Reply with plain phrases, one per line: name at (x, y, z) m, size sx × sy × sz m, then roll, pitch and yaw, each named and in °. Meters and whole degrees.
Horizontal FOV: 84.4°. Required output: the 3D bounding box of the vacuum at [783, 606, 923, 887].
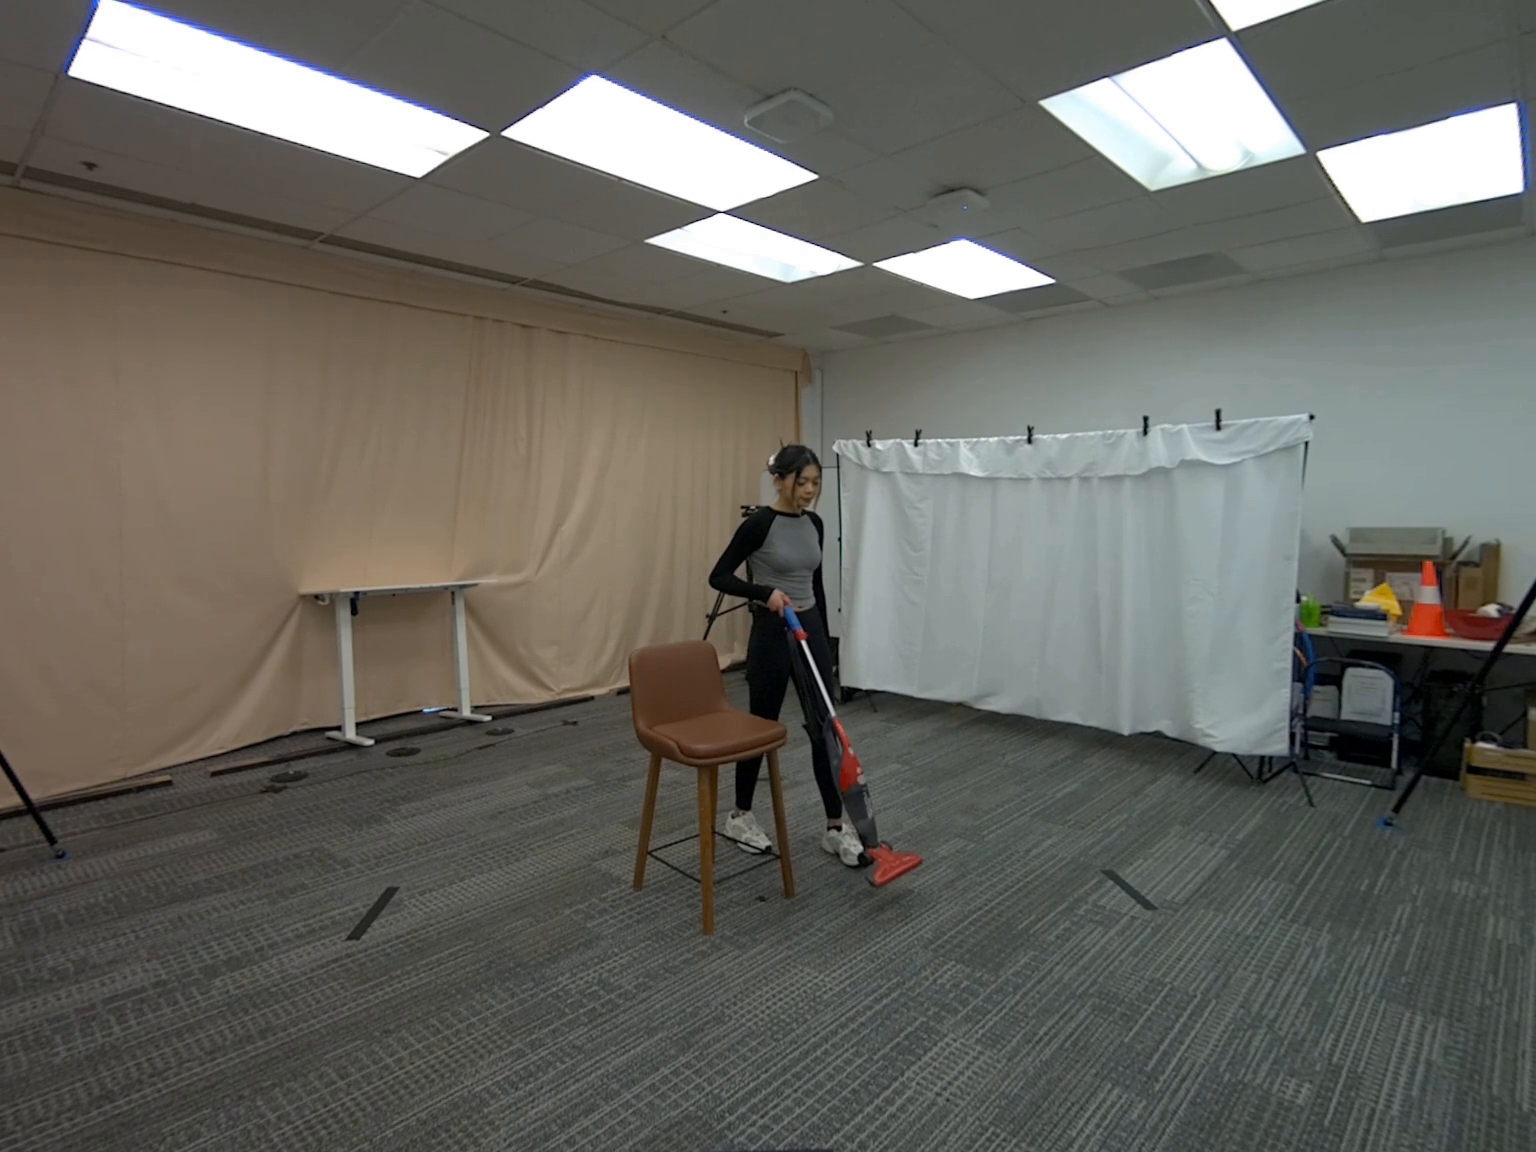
vacuum at (0.227, 0.534, 3.052) m, size 0.245 × 1.063 × 0.146 m, roll -8°, pitch -20°, yaw -48°
